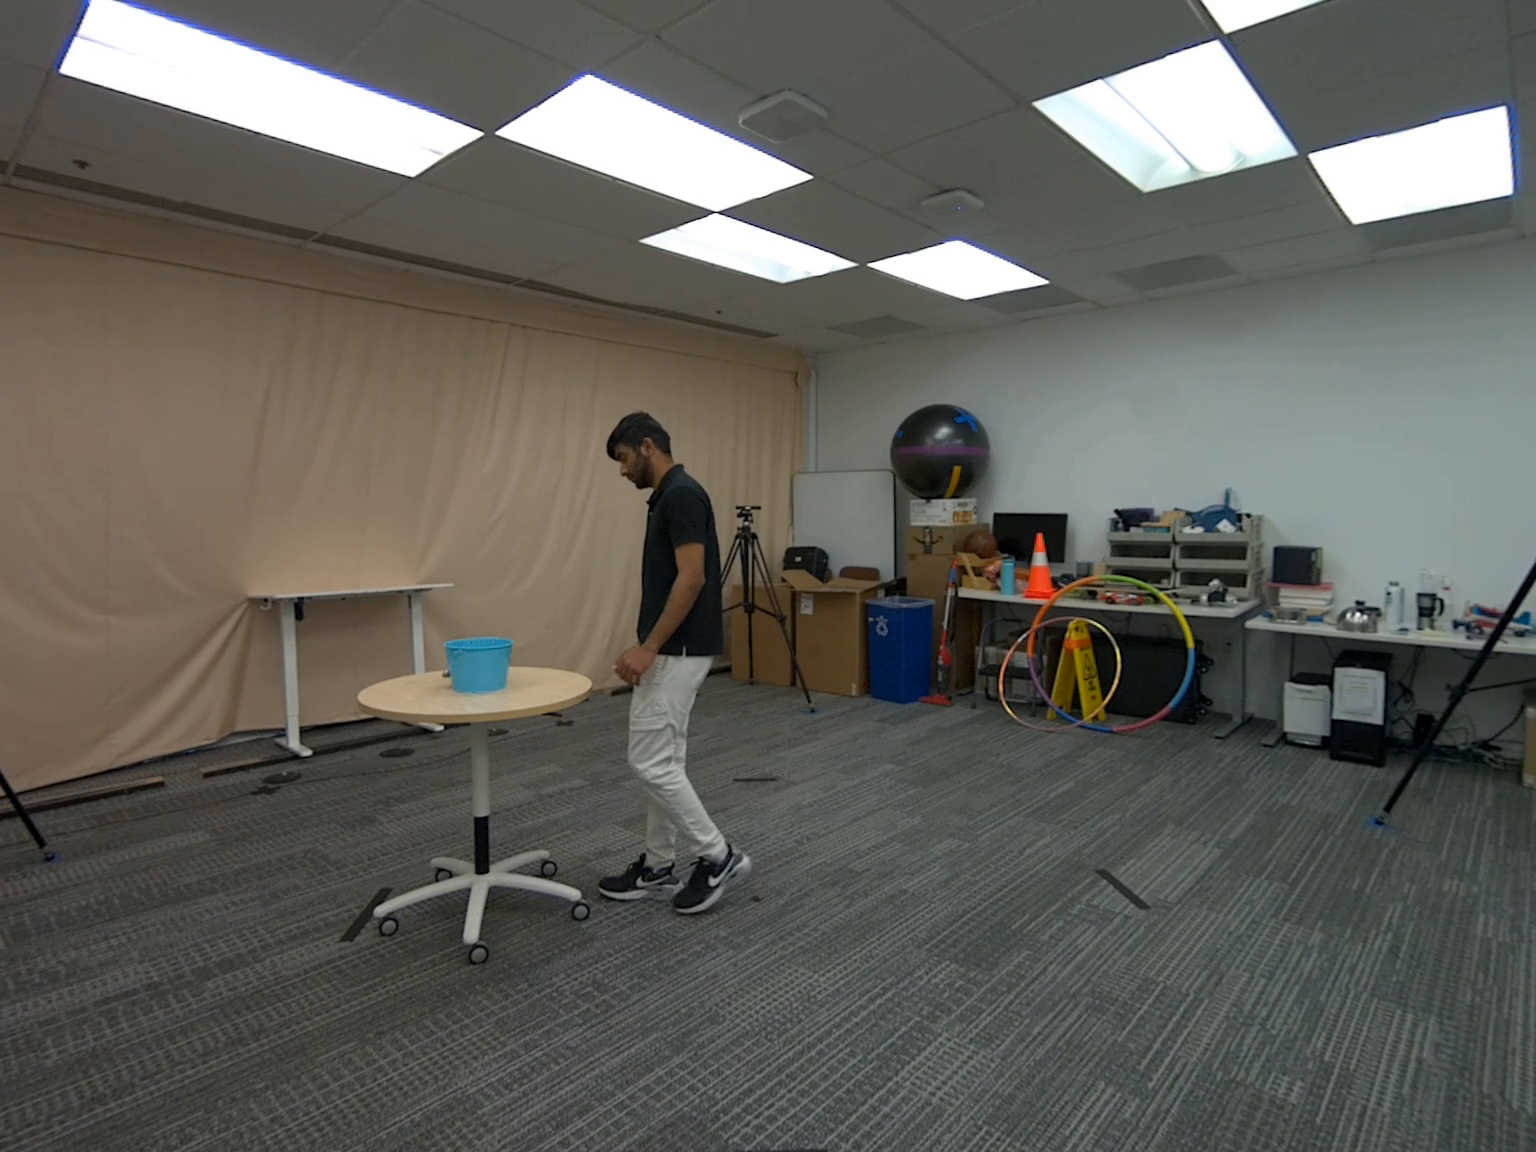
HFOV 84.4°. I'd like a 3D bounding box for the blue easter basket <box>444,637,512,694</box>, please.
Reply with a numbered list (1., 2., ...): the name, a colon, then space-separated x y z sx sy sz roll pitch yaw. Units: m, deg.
1. blue easter basket: -0.993 0.307 2.875 0.243 0.155 0.244 1 4 -2
